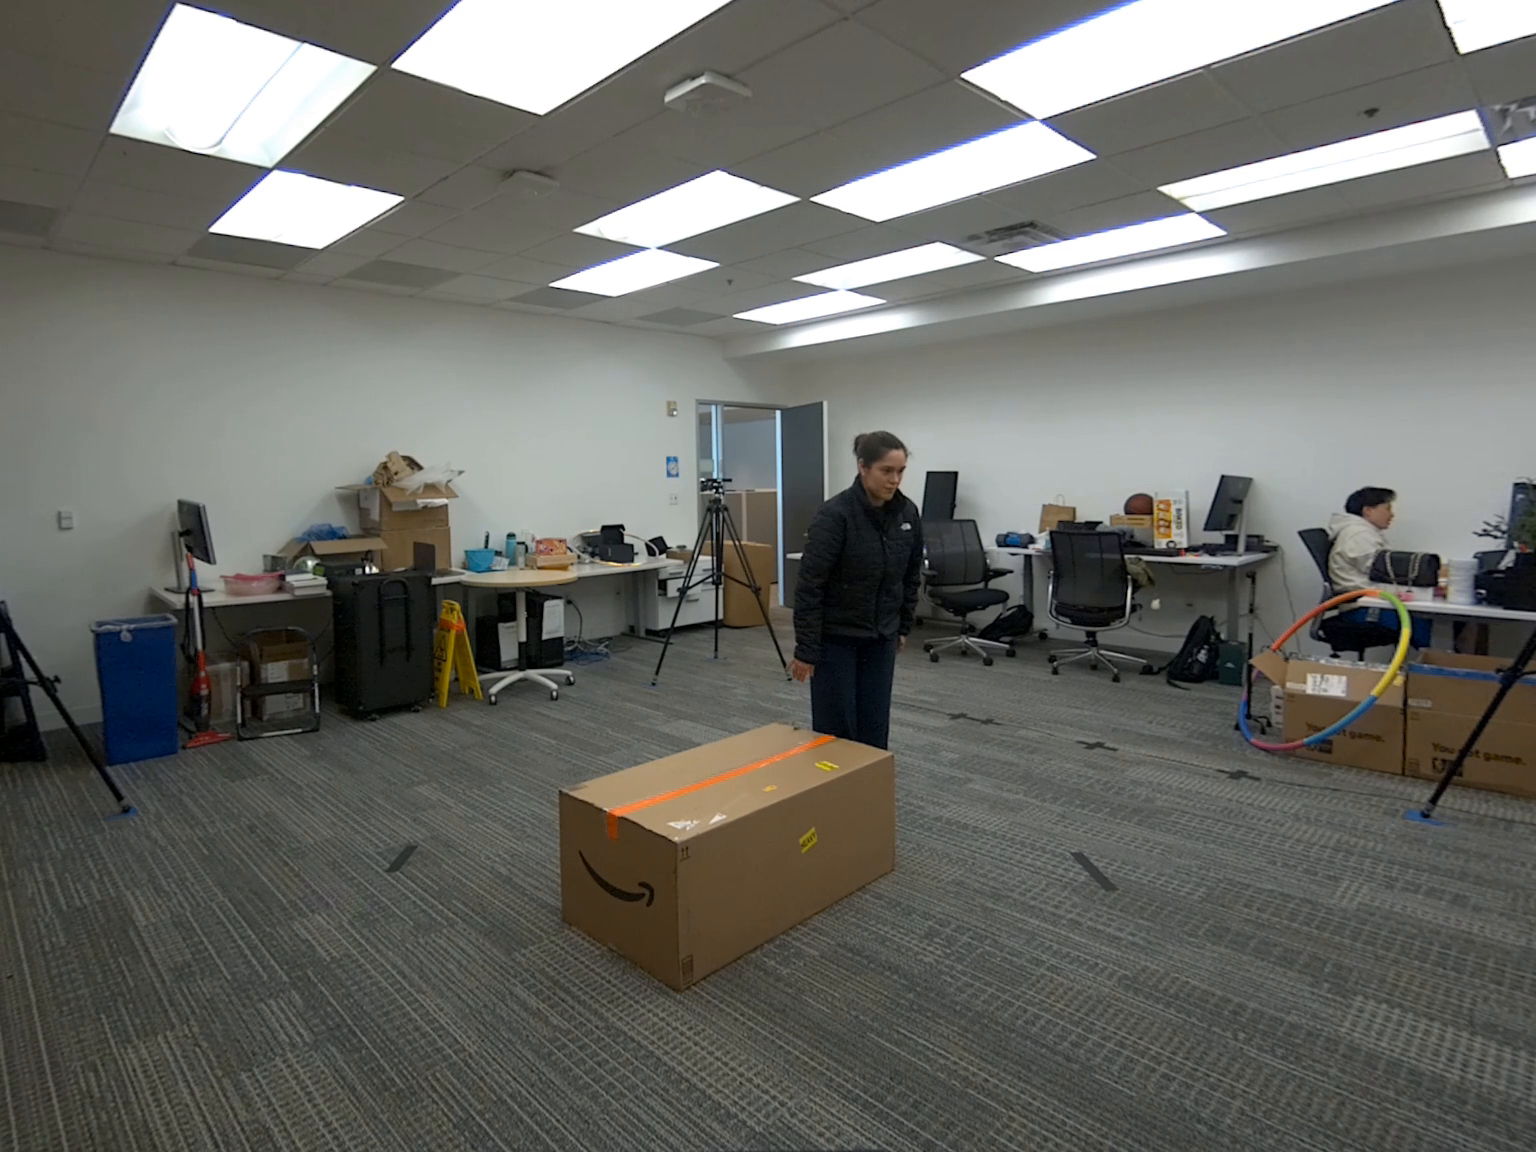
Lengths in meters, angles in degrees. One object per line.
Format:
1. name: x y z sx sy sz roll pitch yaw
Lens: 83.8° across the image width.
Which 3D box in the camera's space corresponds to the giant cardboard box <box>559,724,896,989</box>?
1. giant cardboard box: -0.107 0.862 2.885 0.602 0.445 1.001 3 8 44
